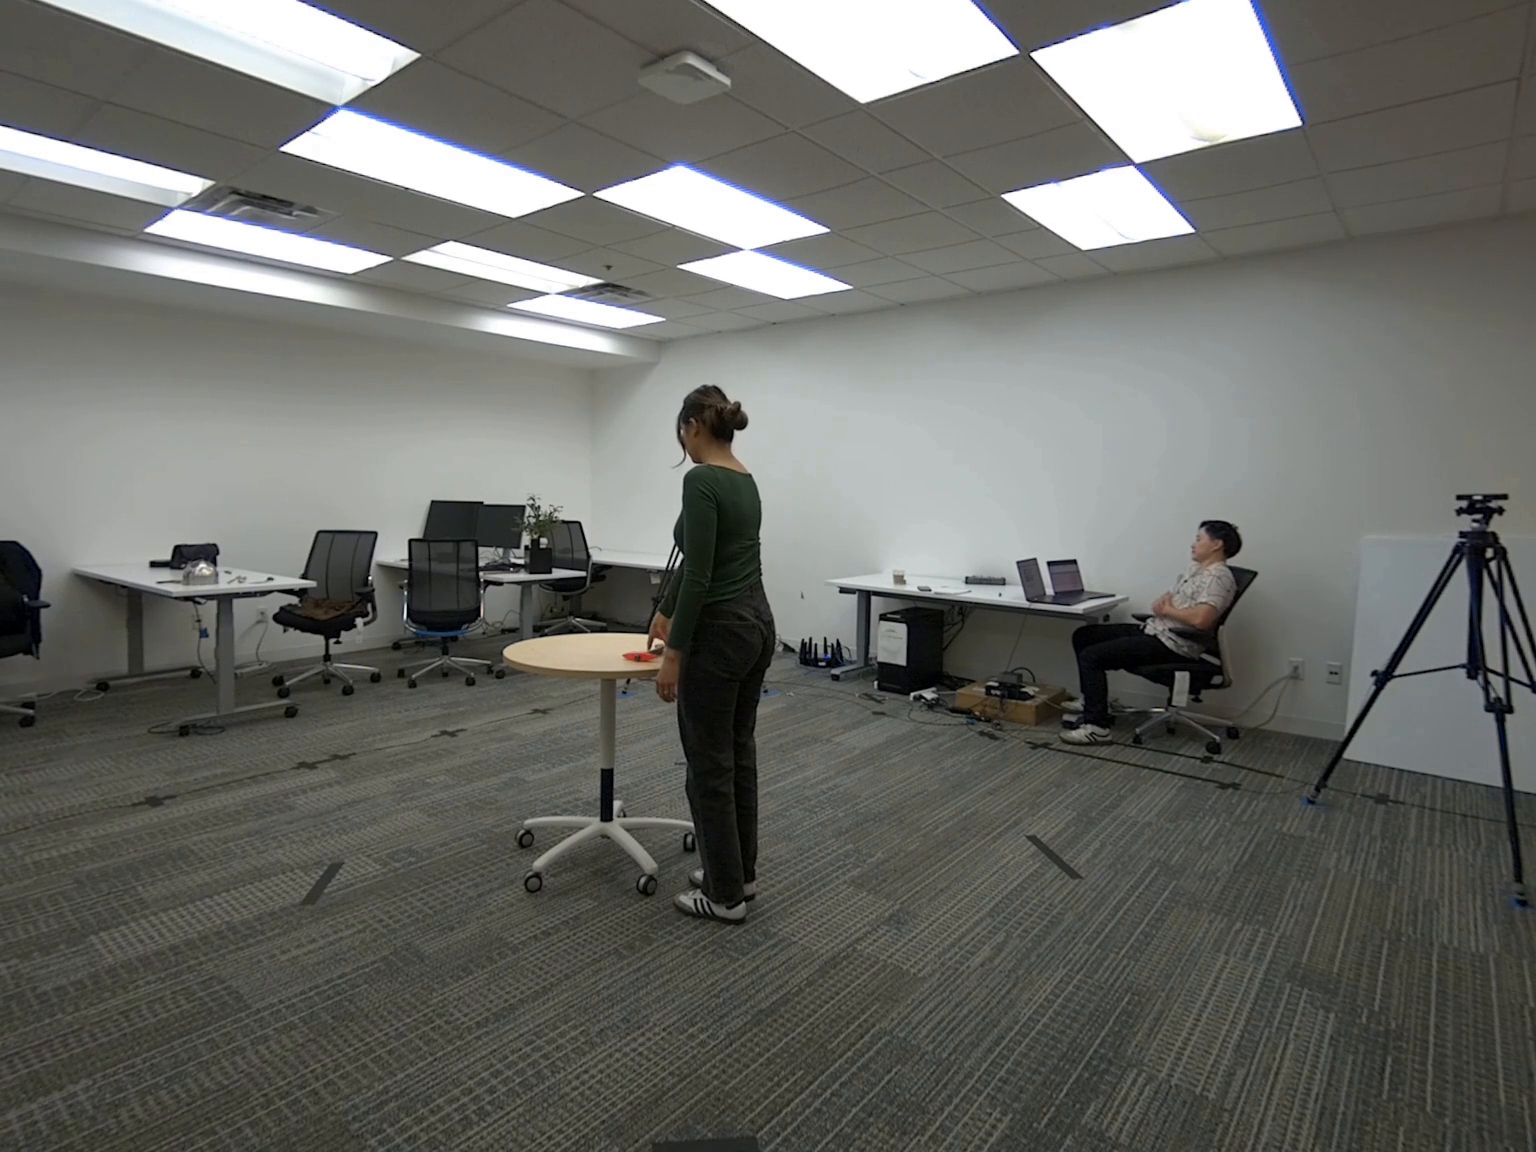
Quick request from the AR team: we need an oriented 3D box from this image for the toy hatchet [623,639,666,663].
[{"bbox_3d":[-0.461,0.274,3.064,0.131,0.029,0.271,-2,4,-1],"label":"toy hatchet"}]
